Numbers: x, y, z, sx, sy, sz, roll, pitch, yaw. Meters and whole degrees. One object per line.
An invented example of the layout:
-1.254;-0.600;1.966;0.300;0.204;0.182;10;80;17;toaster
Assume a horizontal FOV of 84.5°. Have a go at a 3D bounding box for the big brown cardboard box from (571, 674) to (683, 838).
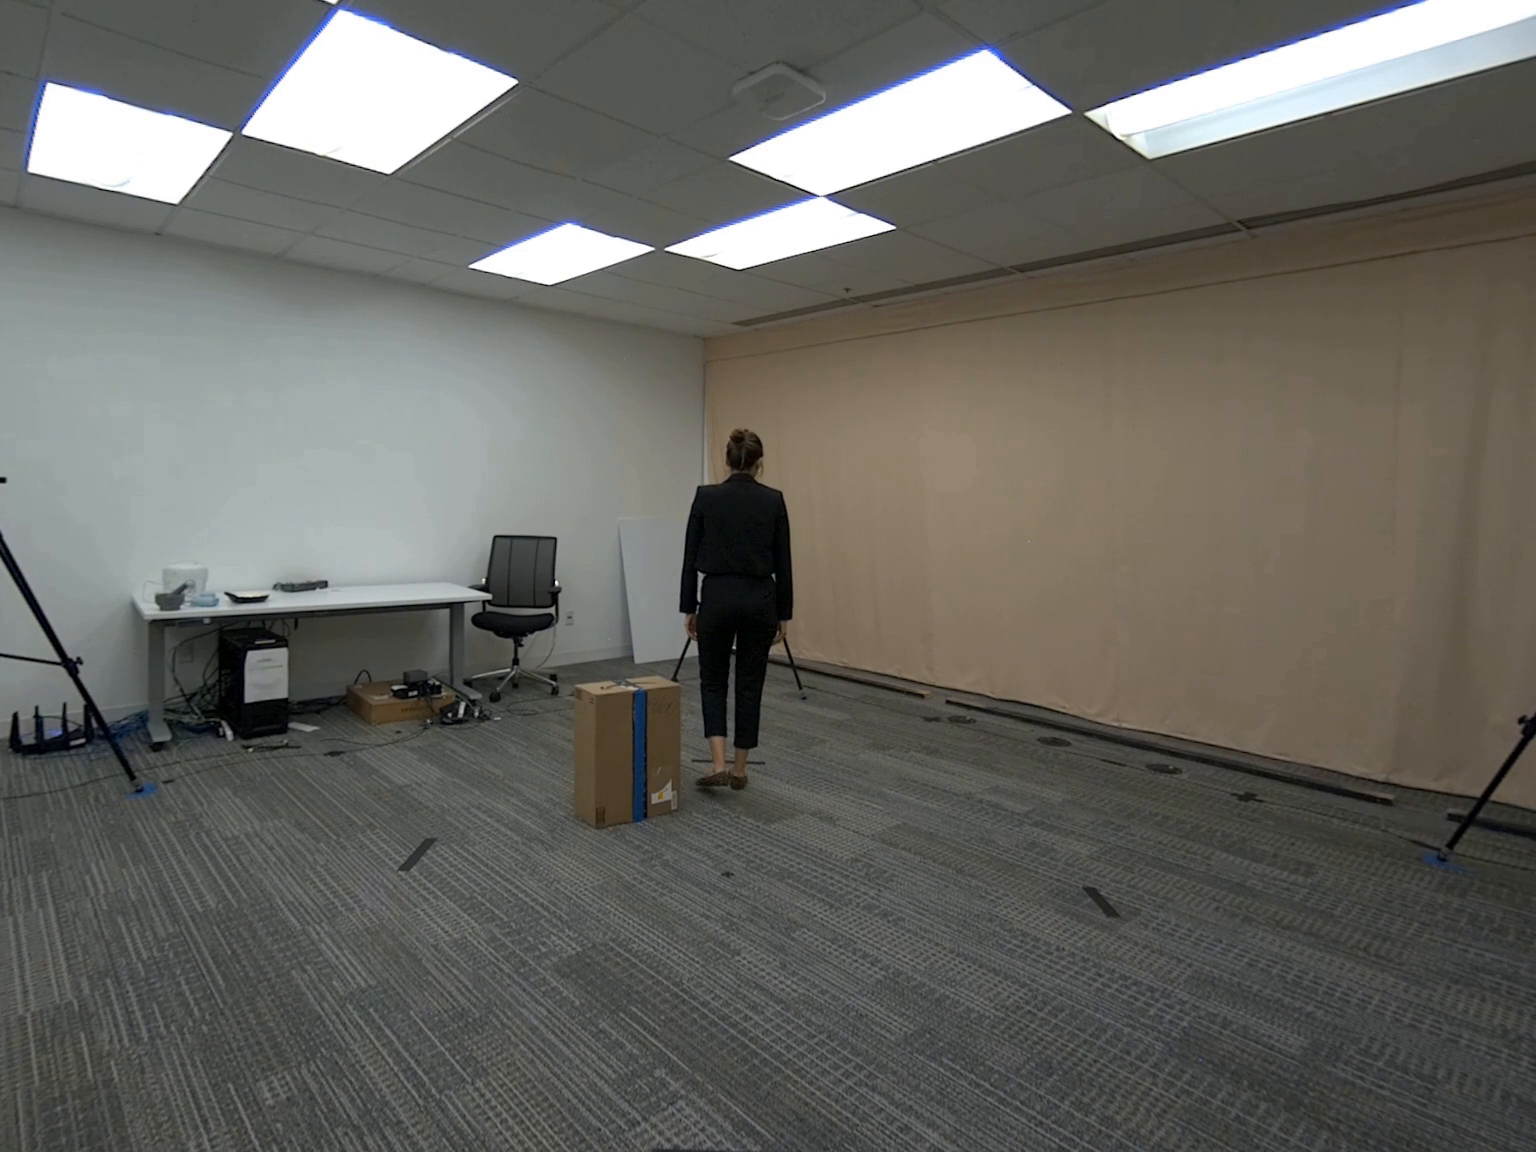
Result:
-0.613;0.761;3.674;0.409;0.587;0.239;-2;4;-35;big brown cardboard box
